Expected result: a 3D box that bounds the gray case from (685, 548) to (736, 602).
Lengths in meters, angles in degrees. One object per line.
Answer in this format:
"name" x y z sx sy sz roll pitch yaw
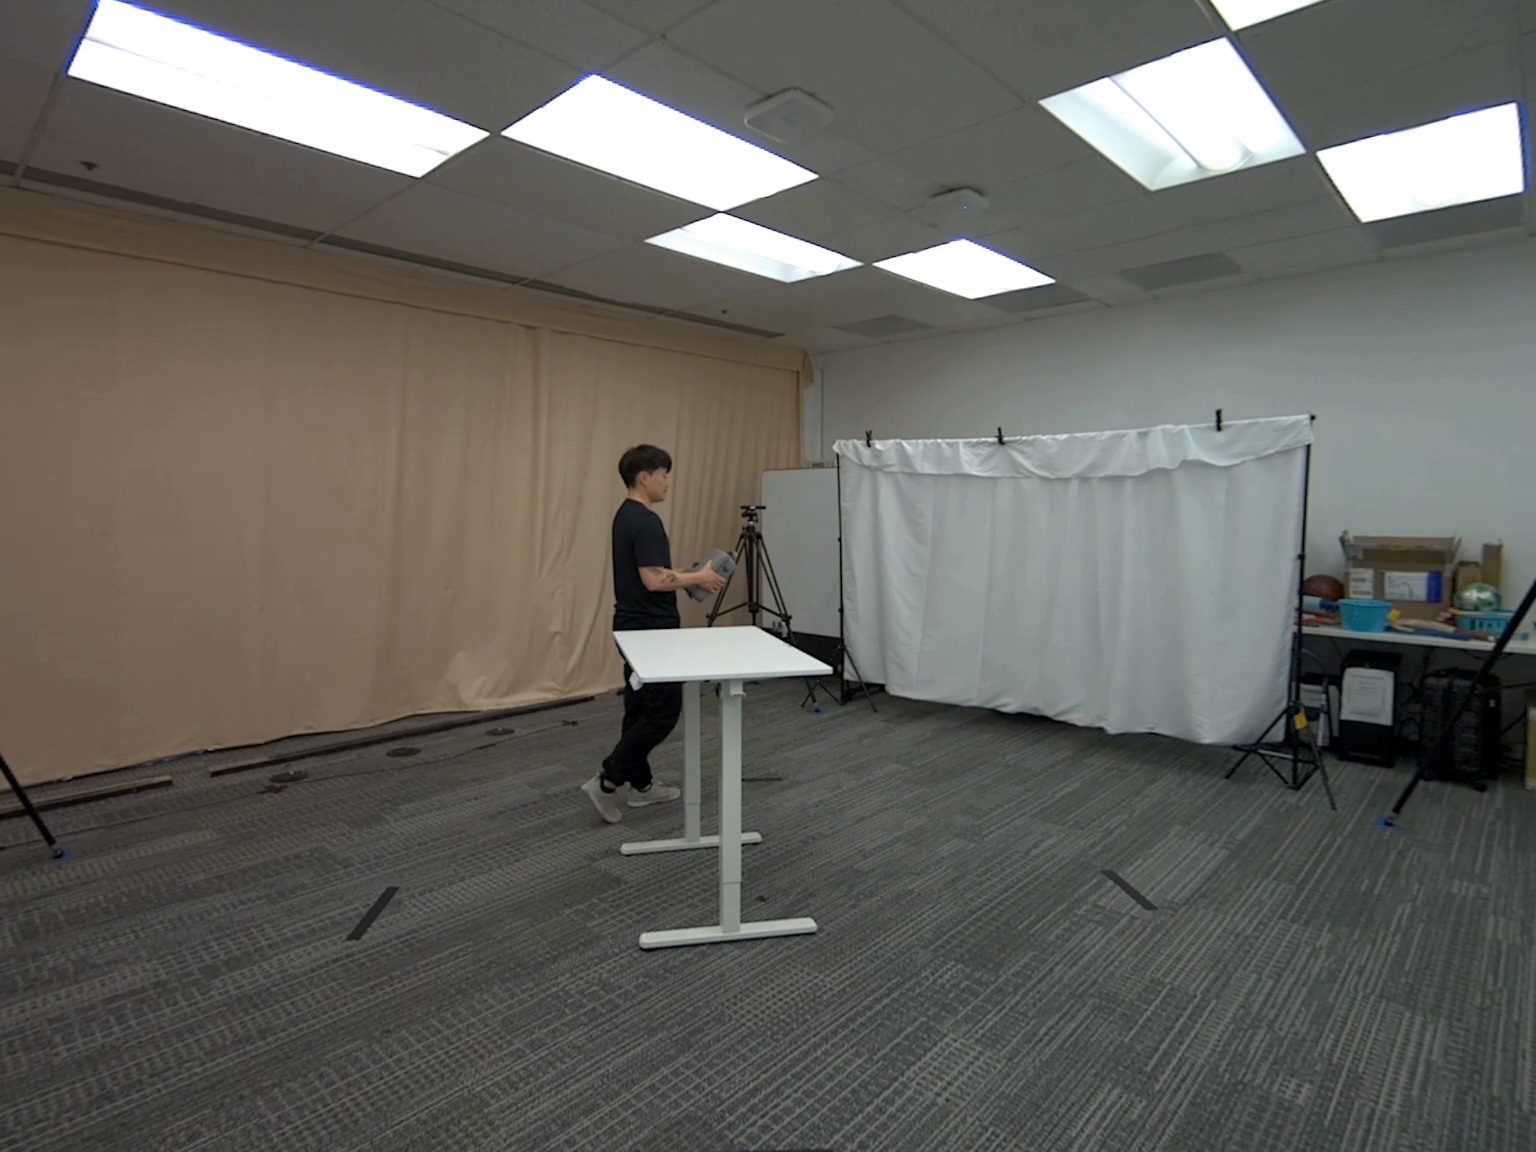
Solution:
"gray case" -0.281 -0.010 3.957 0.260 0.103 0.261 -42 15 -6
